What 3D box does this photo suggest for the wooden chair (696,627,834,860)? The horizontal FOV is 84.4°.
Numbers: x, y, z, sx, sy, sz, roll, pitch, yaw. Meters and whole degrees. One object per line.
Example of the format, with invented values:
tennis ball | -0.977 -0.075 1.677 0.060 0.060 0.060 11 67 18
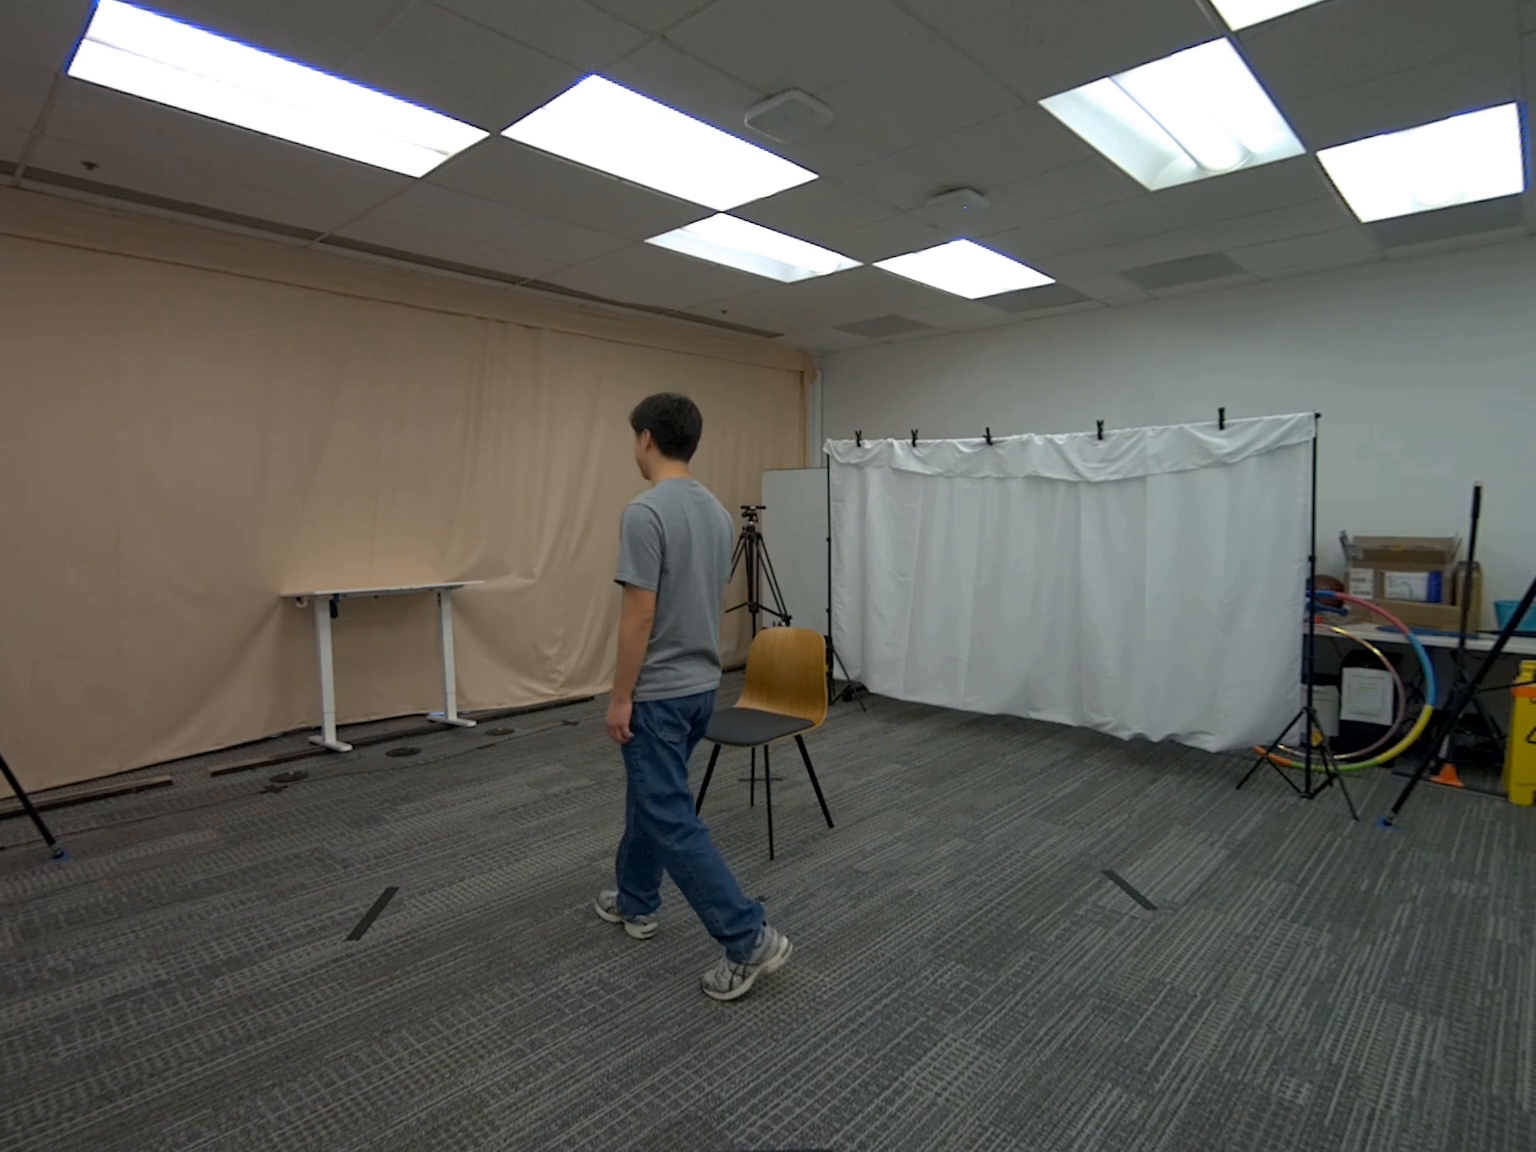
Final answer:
wooden chair | -0.033 0.666 3.584 0.493 0.878 0.506 2 -1 38
